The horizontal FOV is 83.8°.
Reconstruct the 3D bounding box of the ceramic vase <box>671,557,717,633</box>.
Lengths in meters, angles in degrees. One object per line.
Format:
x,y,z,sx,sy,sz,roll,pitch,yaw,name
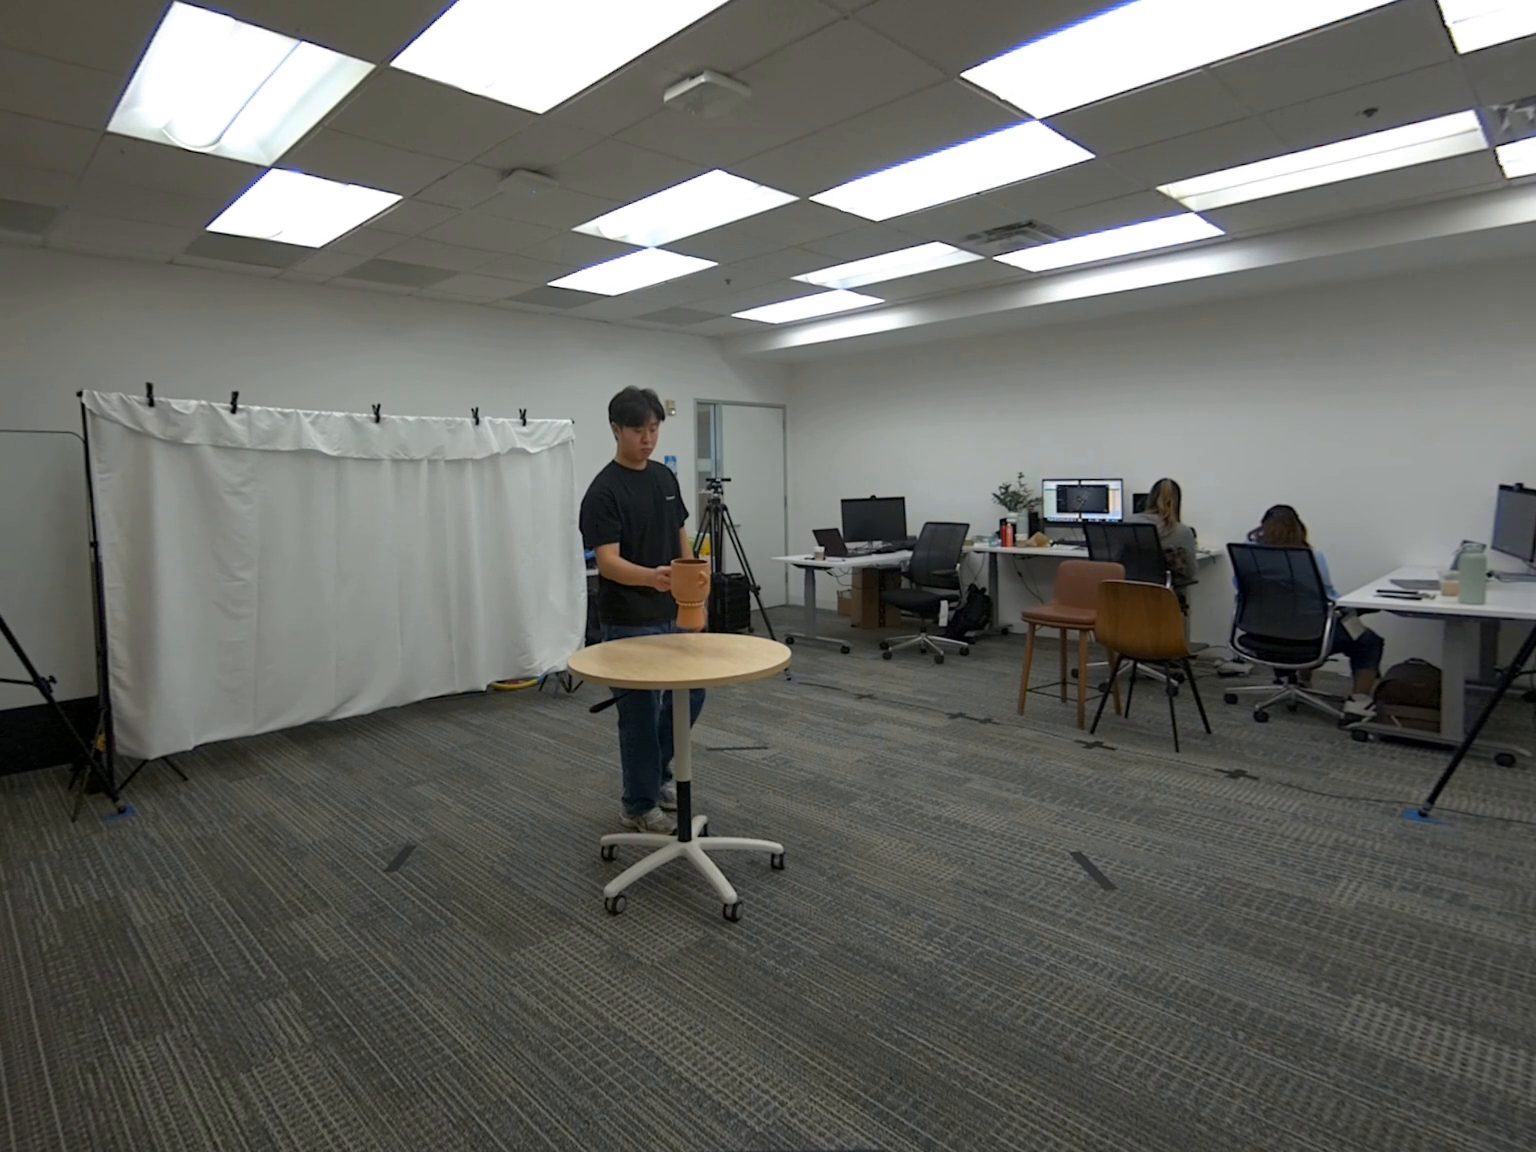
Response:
-0.252,0.060,2.905,0.135,0.218,0.159,1,9,2,ceramic vase
